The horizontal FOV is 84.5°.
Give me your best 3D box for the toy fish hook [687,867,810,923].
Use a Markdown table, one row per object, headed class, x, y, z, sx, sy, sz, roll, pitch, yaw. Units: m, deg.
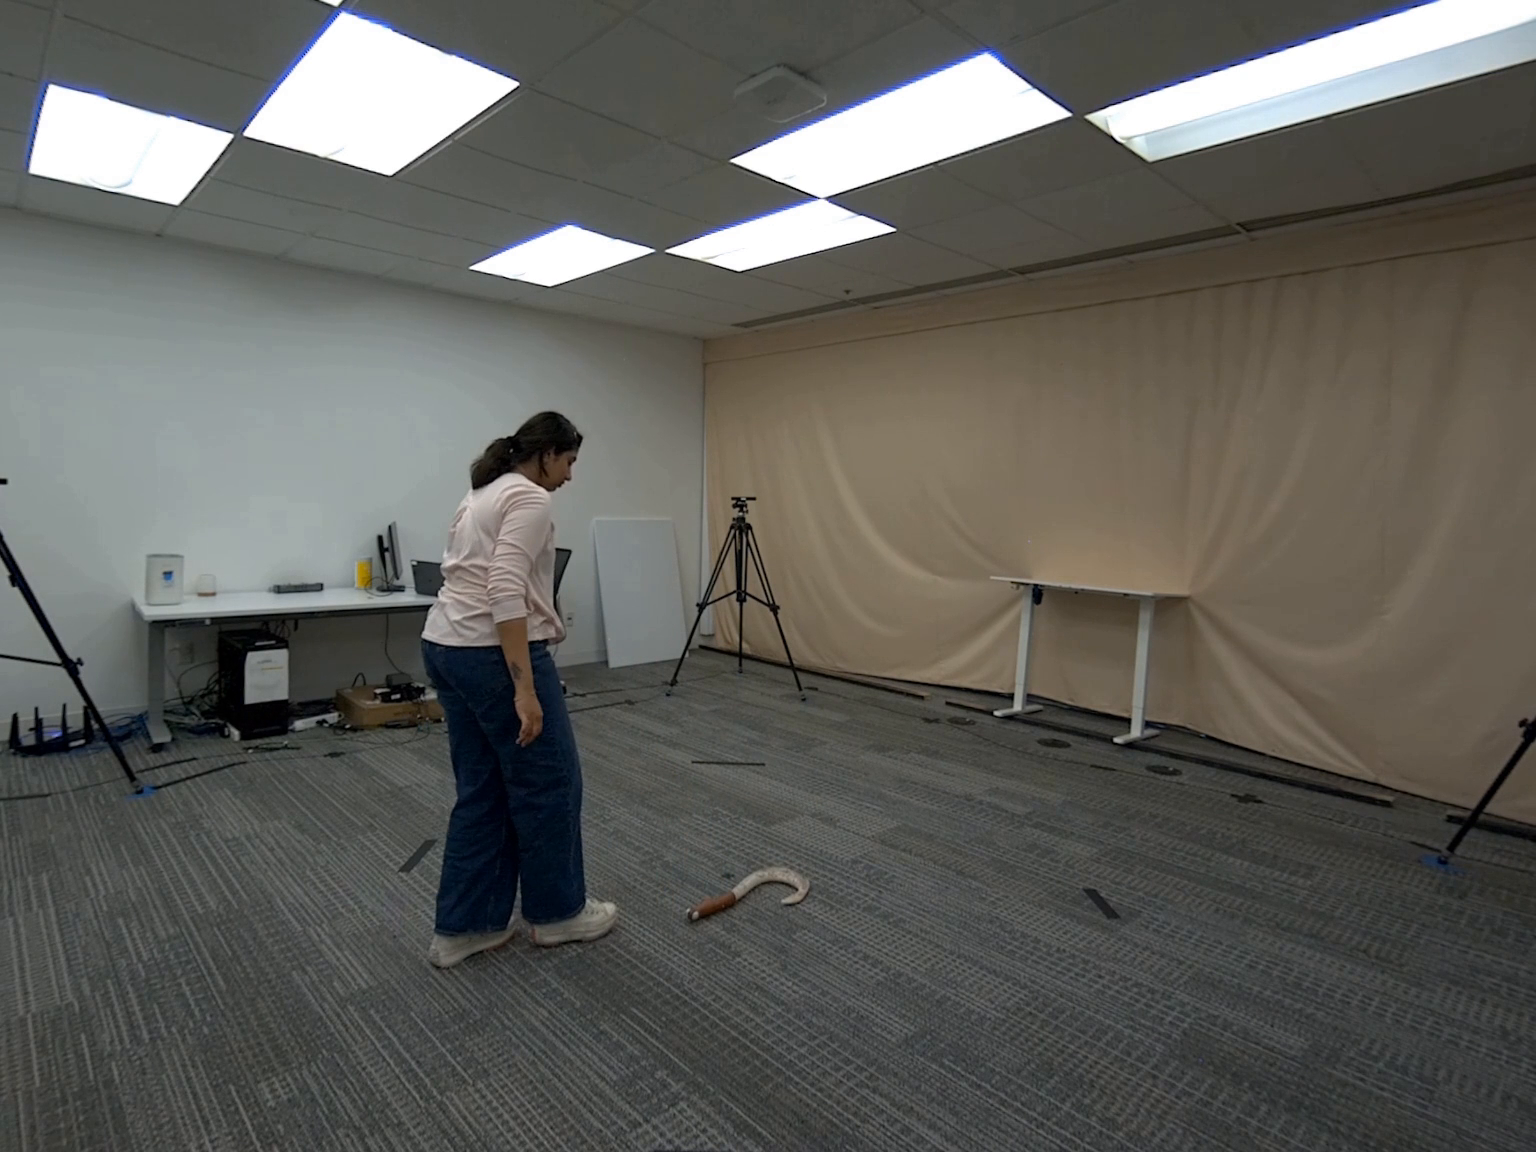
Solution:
| class | x | y | z | sx | sy | sz | roll | pitch | yaw |
| --- | --- | --- | --- | --- | --- | --- | --- | --- | --- |
| toy fish hook | -0.059 | 1.106 | 2.888 | 0.230 | 0.048 | 0.495 | 4 | 7 | 43 |
